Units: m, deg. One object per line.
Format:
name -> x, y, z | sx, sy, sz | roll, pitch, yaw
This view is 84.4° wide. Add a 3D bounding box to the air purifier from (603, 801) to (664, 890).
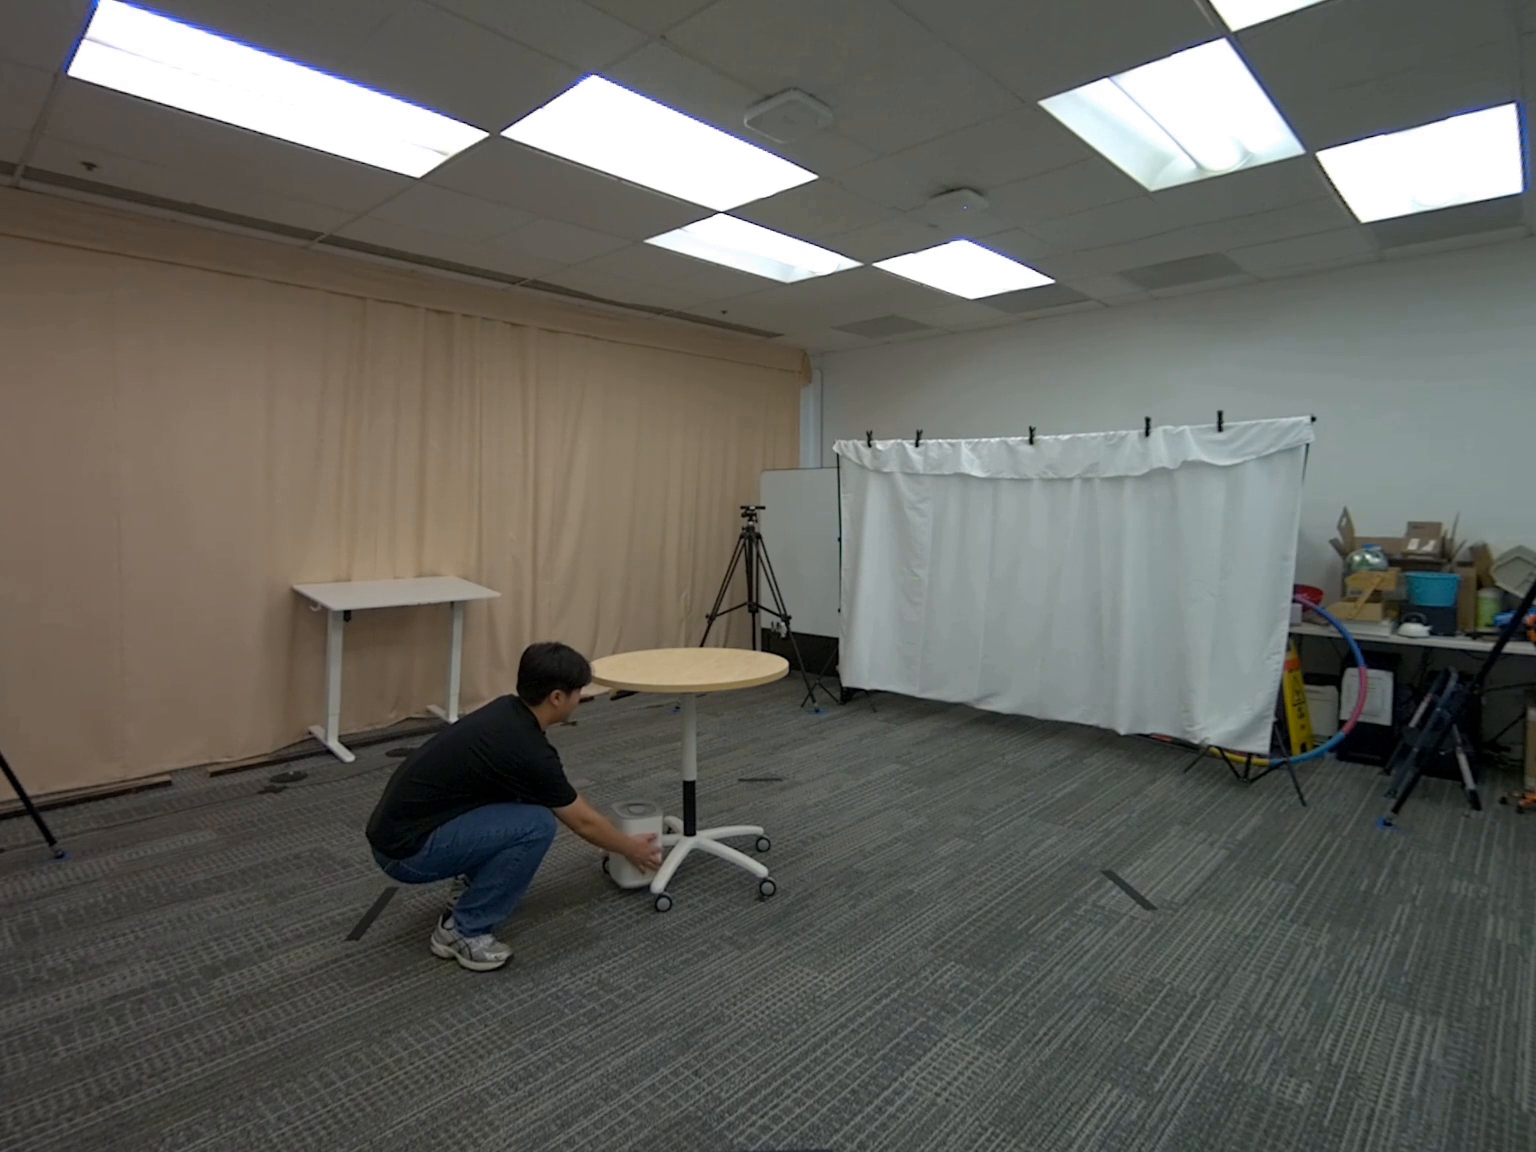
air purifier -> -0.480, 0.979, 3.058 | 0.167, 0.265, 0.176 | 1, 5, -32
